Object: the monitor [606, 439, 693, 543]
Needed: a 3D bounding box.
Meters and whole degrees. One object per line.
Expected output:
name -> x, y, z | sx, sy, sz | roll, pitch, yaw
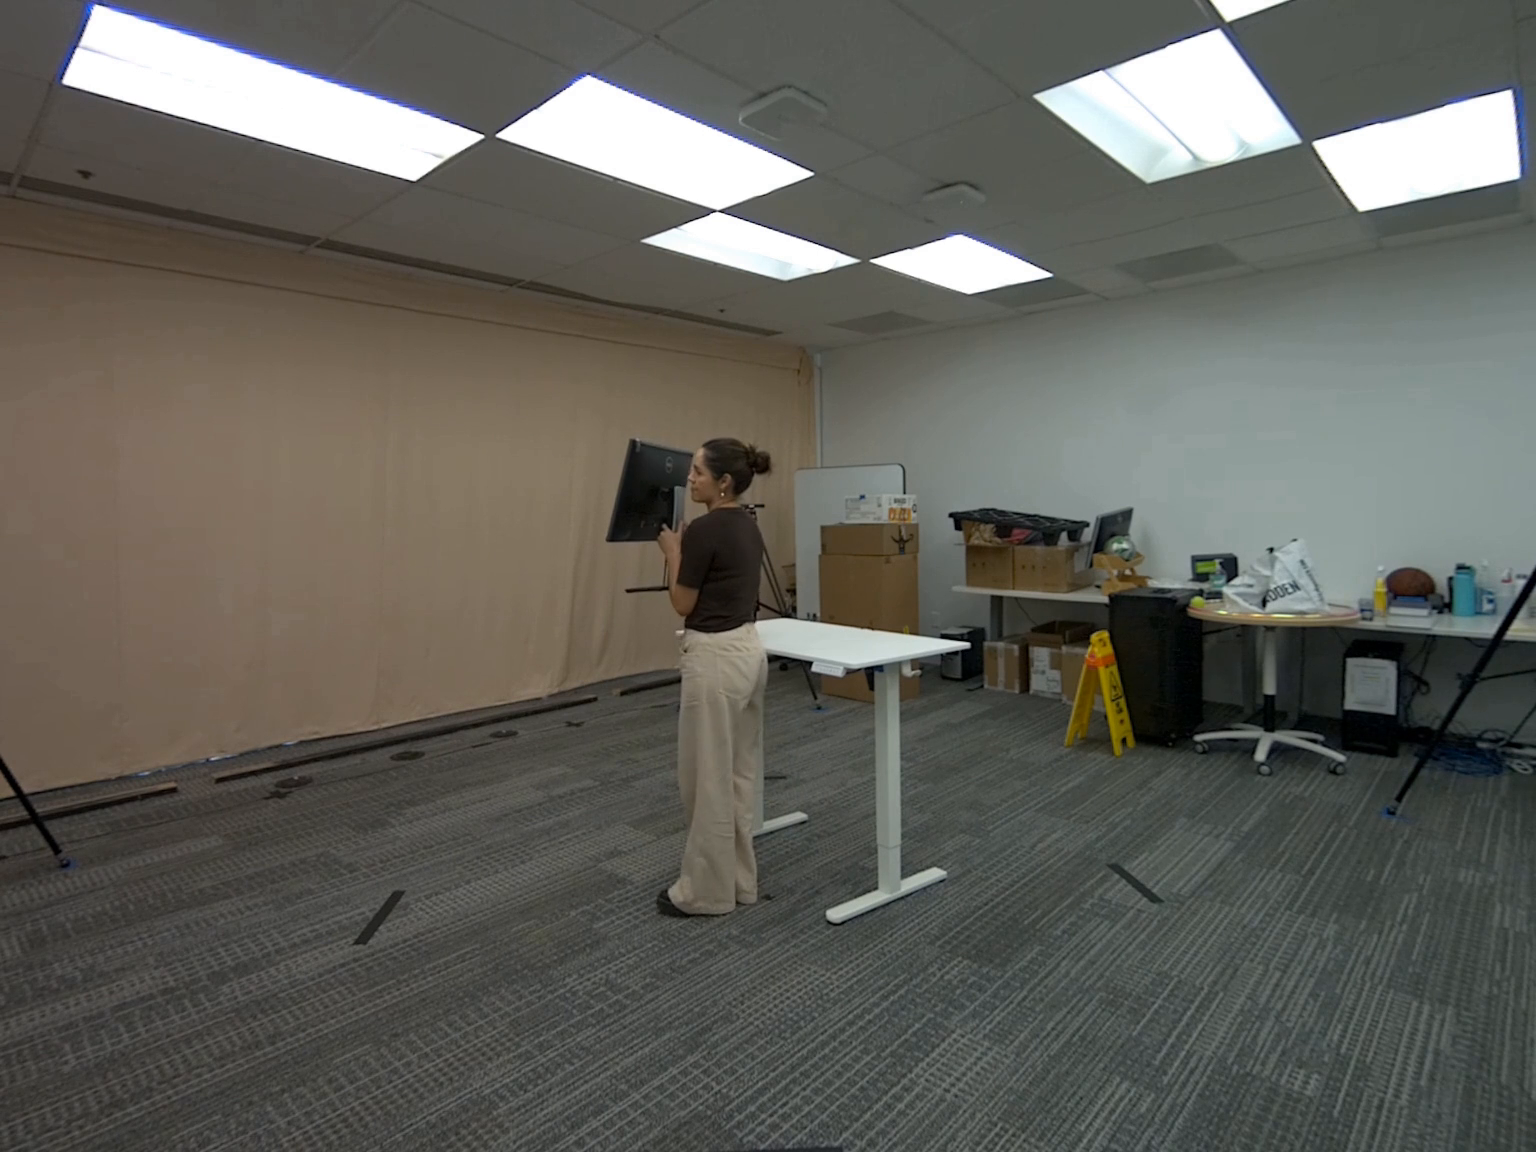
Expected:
monitor -> -0.380, -0.205, 3.009 | 0.190, 0.522, 0.530 | 2, 3, 16
